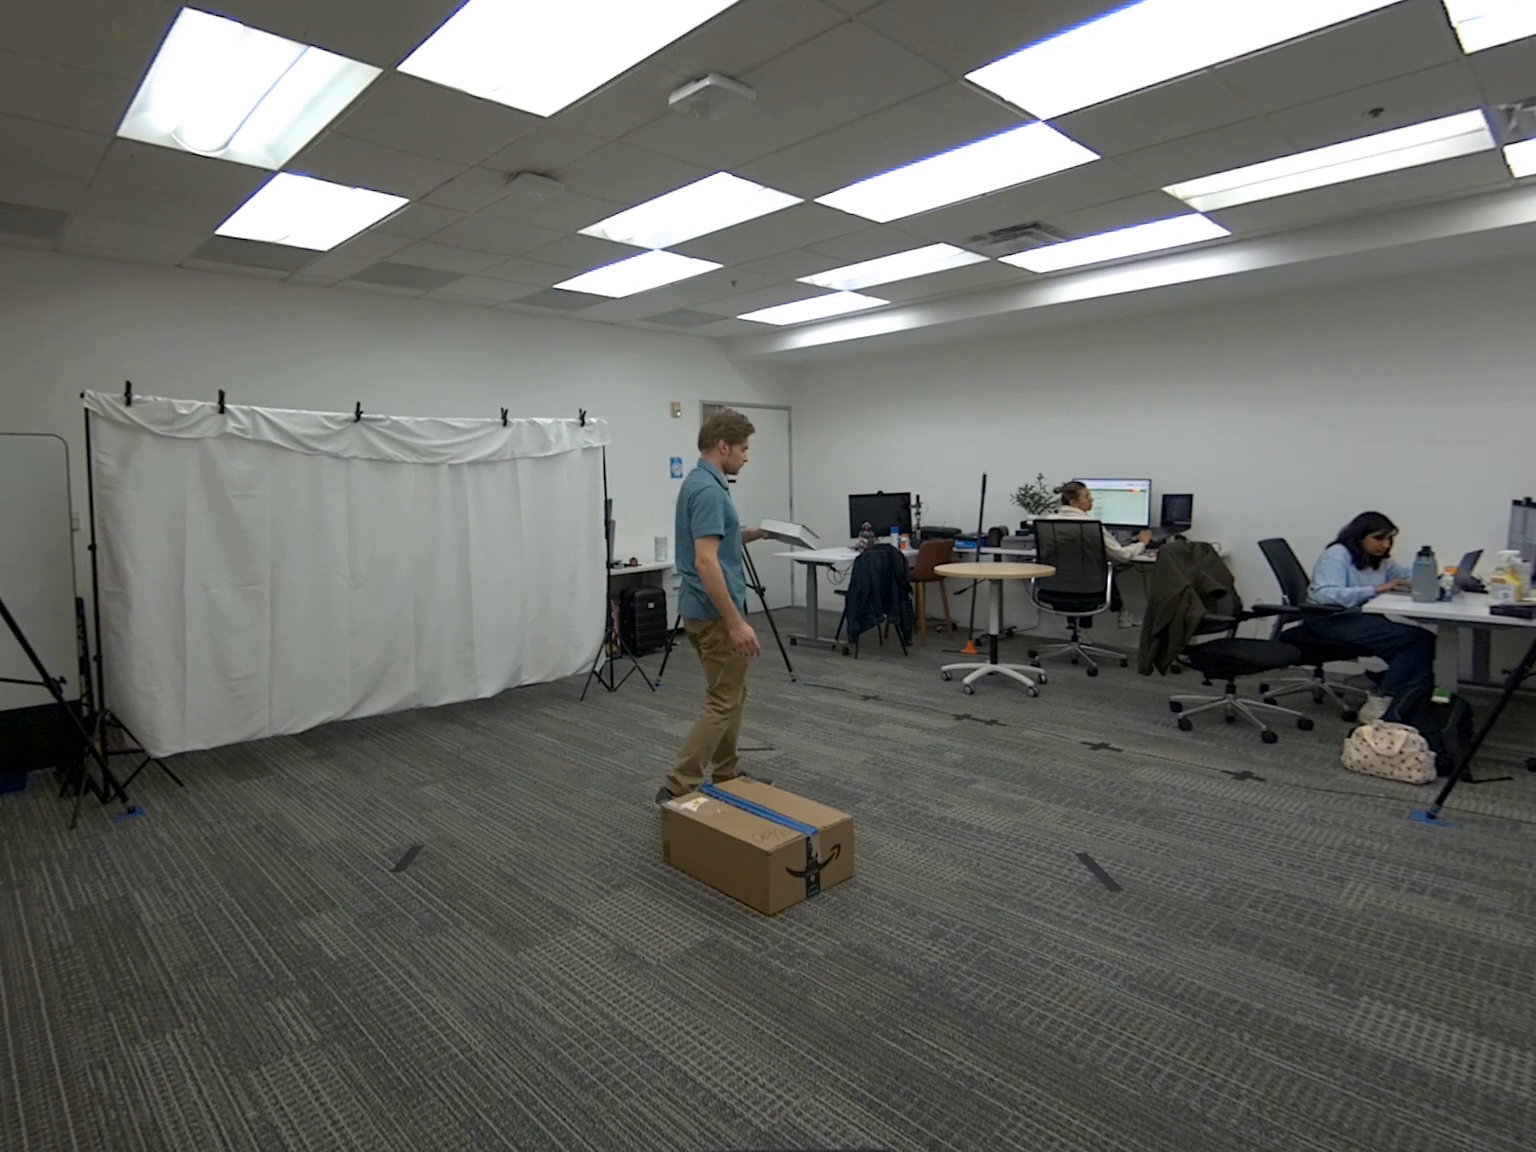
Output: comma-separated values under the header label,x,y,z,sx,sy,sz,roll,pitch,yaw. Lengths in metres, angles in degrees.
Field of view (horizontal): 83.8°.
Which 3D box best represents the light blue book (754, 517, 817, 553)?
label,x,y,z,sx,sy,sz,roll,pitch,yaw
light blue book,0.075,-0.179,3.721,0.196,0.059,0.253,14,-6,23
